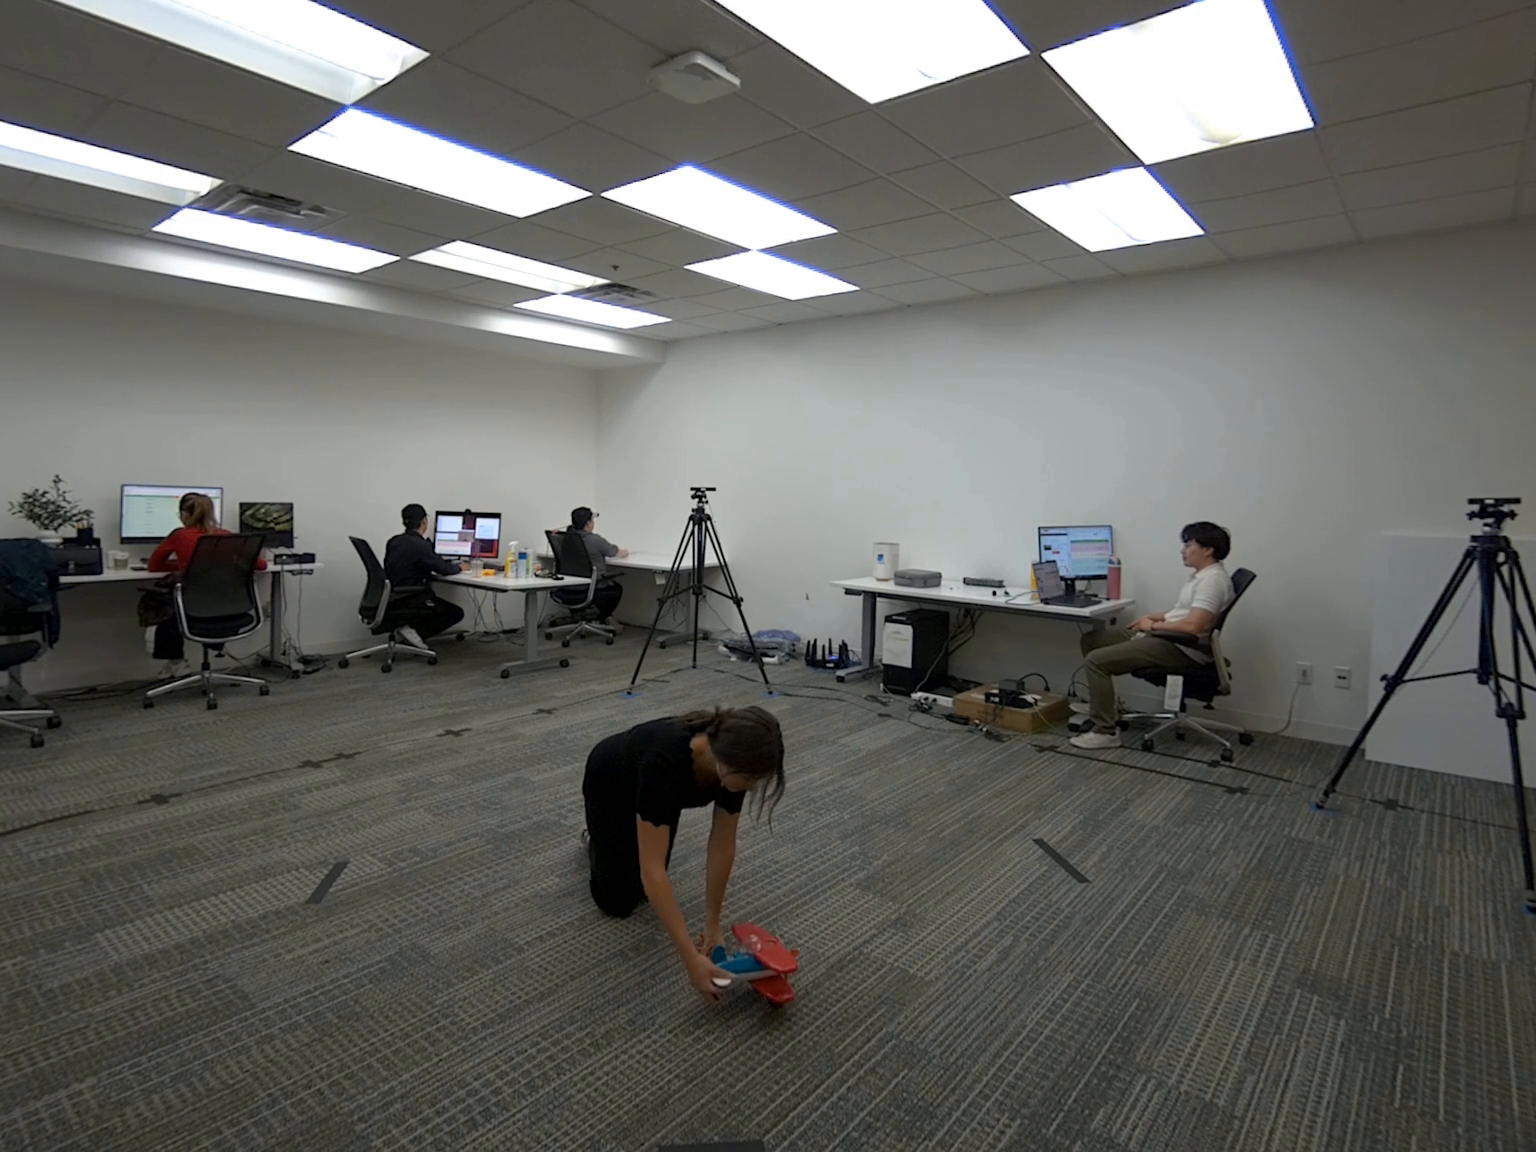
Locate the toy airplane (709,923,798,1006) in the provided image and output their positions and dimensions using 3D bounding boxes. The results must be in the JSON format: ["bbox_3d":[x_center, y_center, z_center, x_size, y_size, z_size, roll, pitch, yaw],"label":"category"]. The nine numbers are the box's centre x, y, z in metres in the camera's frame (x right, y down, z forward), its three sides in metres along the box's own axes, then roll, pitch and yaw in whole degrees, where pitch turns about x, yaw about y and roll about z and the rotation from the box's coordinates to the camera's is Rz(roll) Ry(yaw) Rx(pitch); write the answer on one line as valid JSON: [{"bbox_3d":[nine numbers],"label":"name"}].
[{"bbox_3d":[-0.047,1.058,2.272,0.259,0.157,0.250,15,-6,29],"label":"toy airplane"}]
